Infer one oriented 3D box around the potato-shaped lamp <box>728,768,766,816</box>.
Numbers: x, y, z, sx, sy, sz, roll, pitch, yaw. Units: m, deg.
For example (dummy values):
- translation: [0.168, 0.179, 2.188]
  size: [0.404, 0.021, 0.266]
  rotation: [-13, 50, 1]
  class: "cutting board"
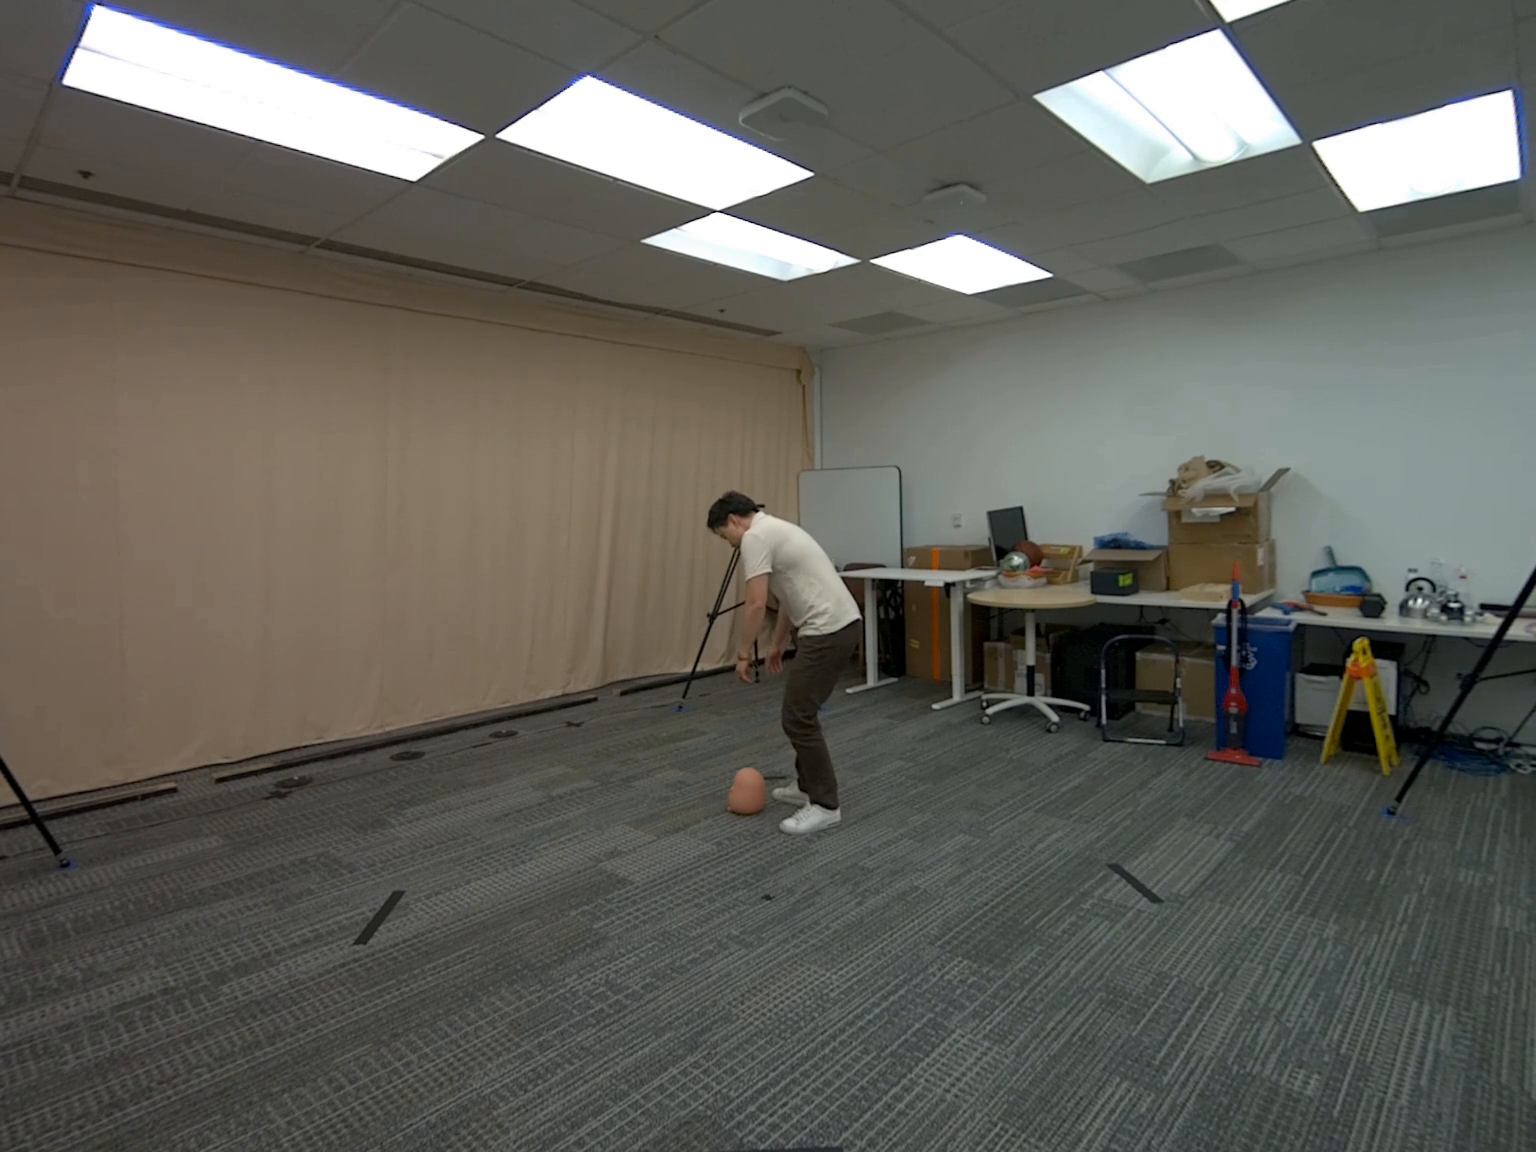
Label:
- translation: [-0.097, 0.973, 3.829]
  size: [0.176, 0.197, 0.160]
  rotation: [1, 4, 30]
  class: "potato-shaped lamp"
